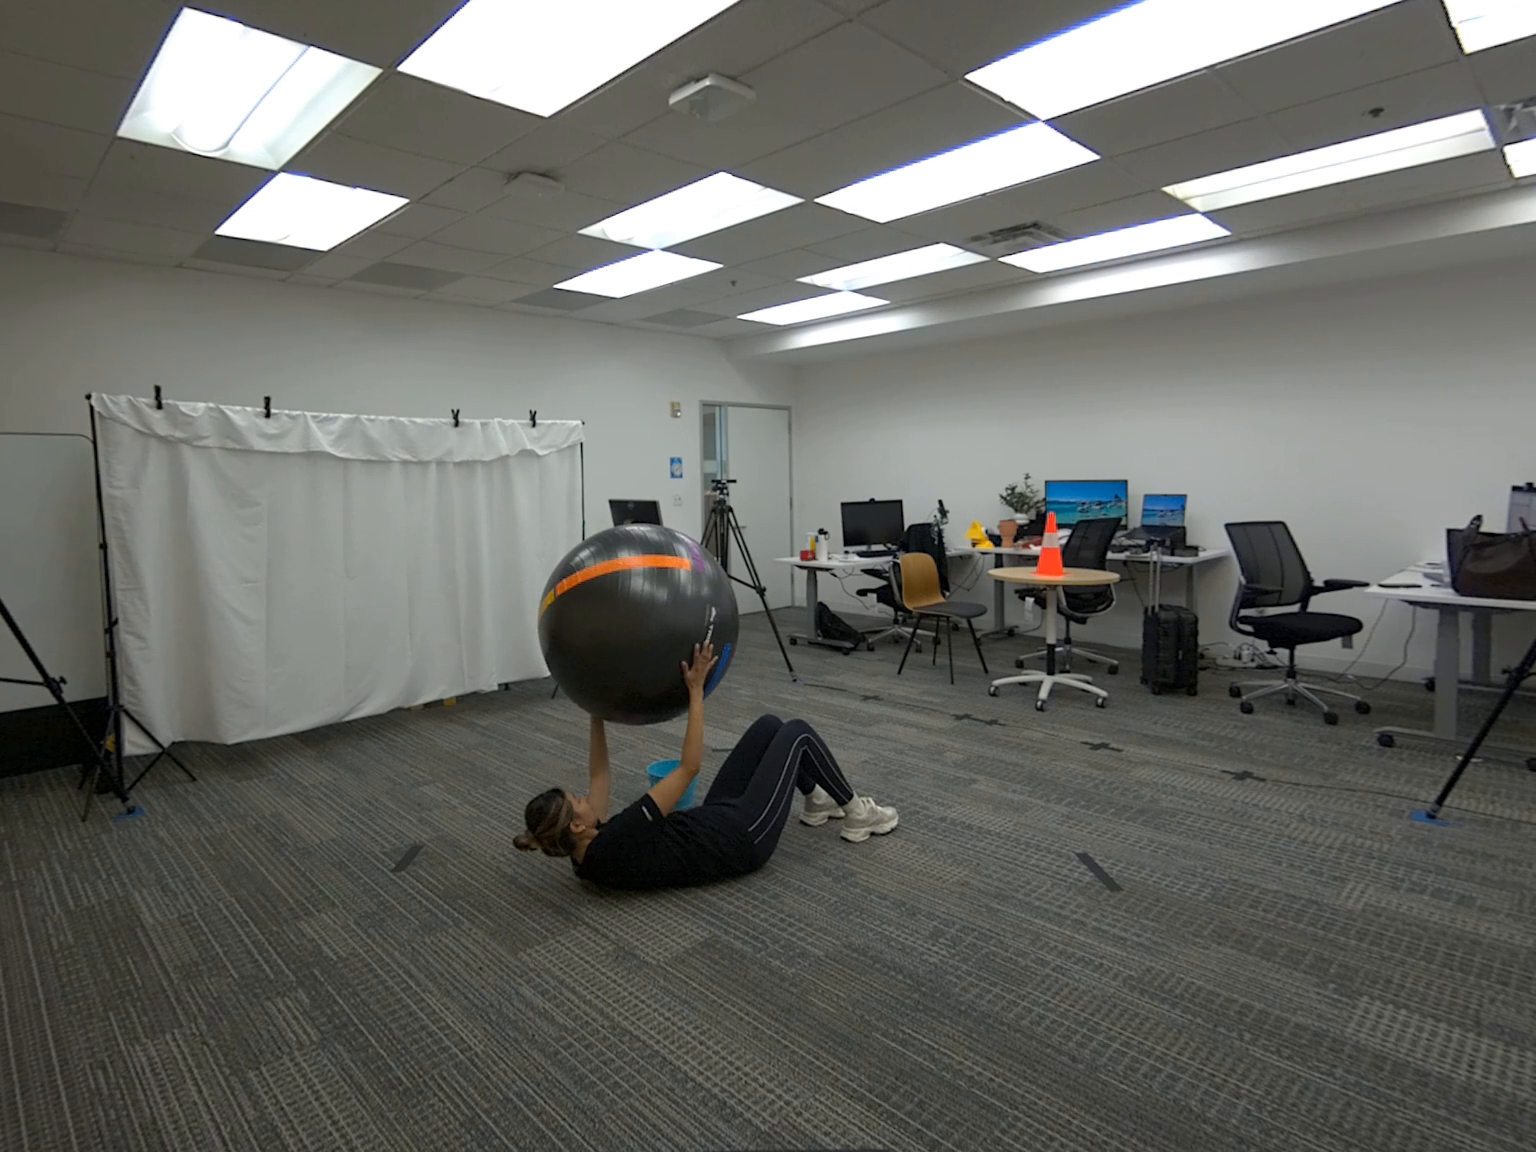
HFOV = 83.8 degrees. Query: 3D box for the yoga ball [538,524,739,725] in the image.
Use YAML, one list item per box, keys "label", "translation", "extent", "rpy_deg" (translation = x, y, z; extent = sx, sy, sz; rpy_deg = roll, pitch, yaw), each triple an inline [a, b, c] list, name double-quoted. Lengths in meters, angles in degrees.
- label: "yoga ball"
  translation: [-0.487, 0.192, 3.244]
  extent: [0.757, 0.757, 0.759]
  rpy_deg: [0, 1, -2]
